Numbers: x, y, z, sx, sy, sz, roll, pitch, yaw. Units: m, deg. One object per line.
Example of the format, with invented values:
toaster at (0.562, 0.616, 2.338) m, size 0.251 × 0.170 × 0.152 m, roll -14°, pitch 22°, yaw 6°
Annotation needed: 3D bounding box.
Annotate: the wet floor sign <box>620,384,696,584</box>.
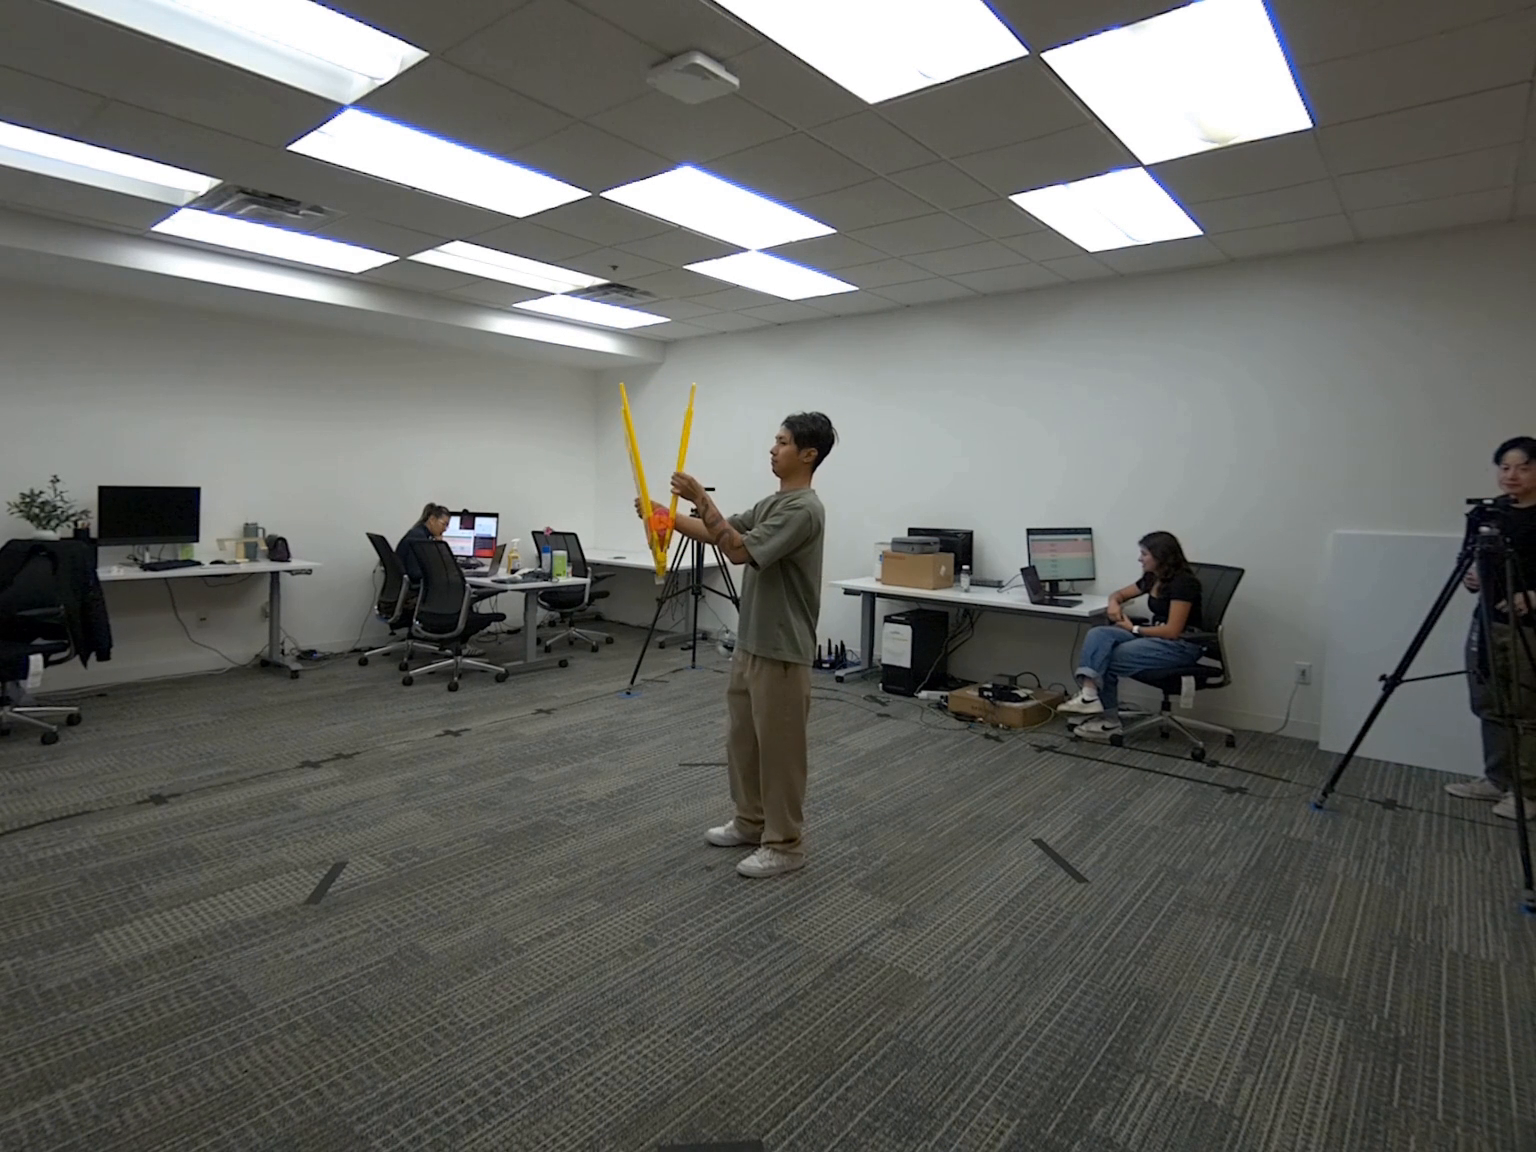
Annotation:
wet floor sign at (-0.395, -0.329, 2.994) m, size 0.288 × 0.655 × 0.280 m, roll -1°, pitch -14°, yaw -7°
